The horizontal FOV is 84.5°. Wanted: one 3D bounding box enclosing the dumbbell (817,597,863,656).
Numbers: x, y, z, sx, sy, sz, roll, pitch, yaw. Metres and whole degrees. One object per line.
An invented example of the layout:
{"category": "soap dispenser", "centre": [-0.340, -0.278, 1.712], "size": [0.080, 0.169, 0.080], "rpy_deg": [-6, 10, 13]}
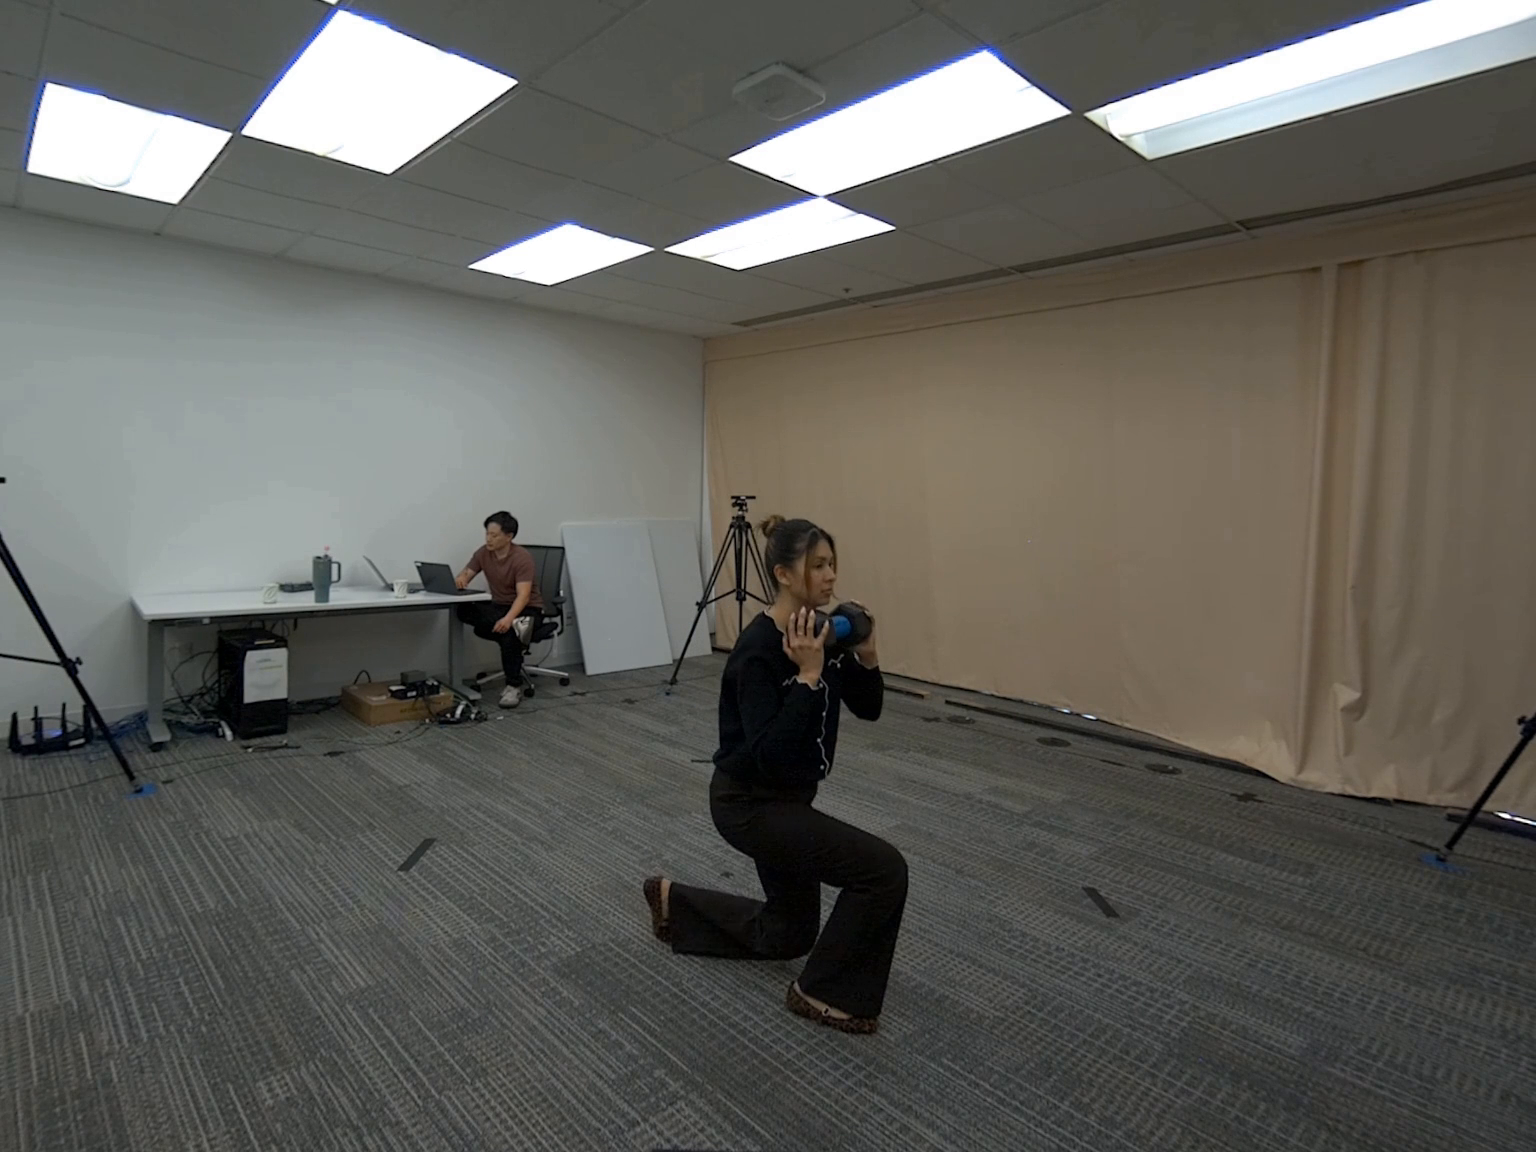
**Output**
{"category": "dumbbell", "centre": [0.129, 0.142, 2.230], "size": [0.123, 0.110, 0.288], "rpy_deg": [-43, -14, 17]}
